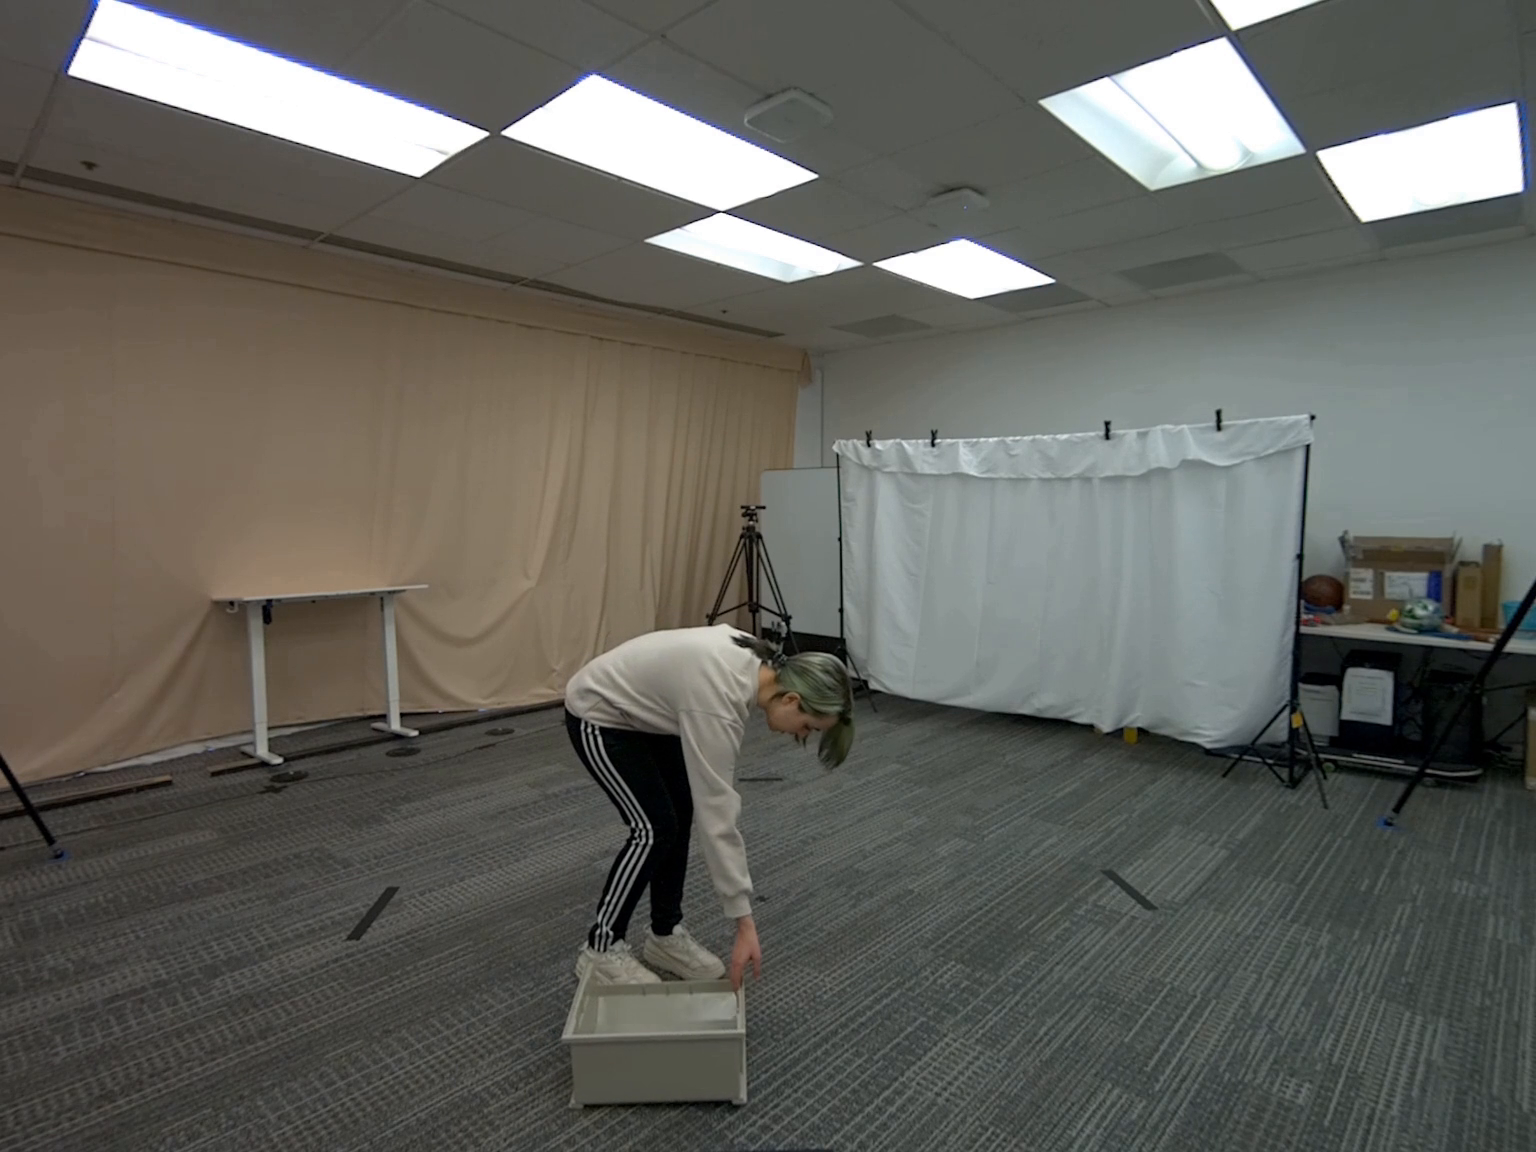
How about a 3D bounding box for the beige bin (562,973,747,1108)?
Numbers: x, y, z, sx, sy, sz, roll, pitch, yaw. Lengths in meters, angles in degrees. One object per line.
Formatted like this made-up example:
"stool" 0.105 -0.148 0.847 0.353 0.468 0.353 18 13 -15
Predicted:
"beige bin" -0.266 1.120 2.103 0.423 0.188 0.378 -1 5 0
